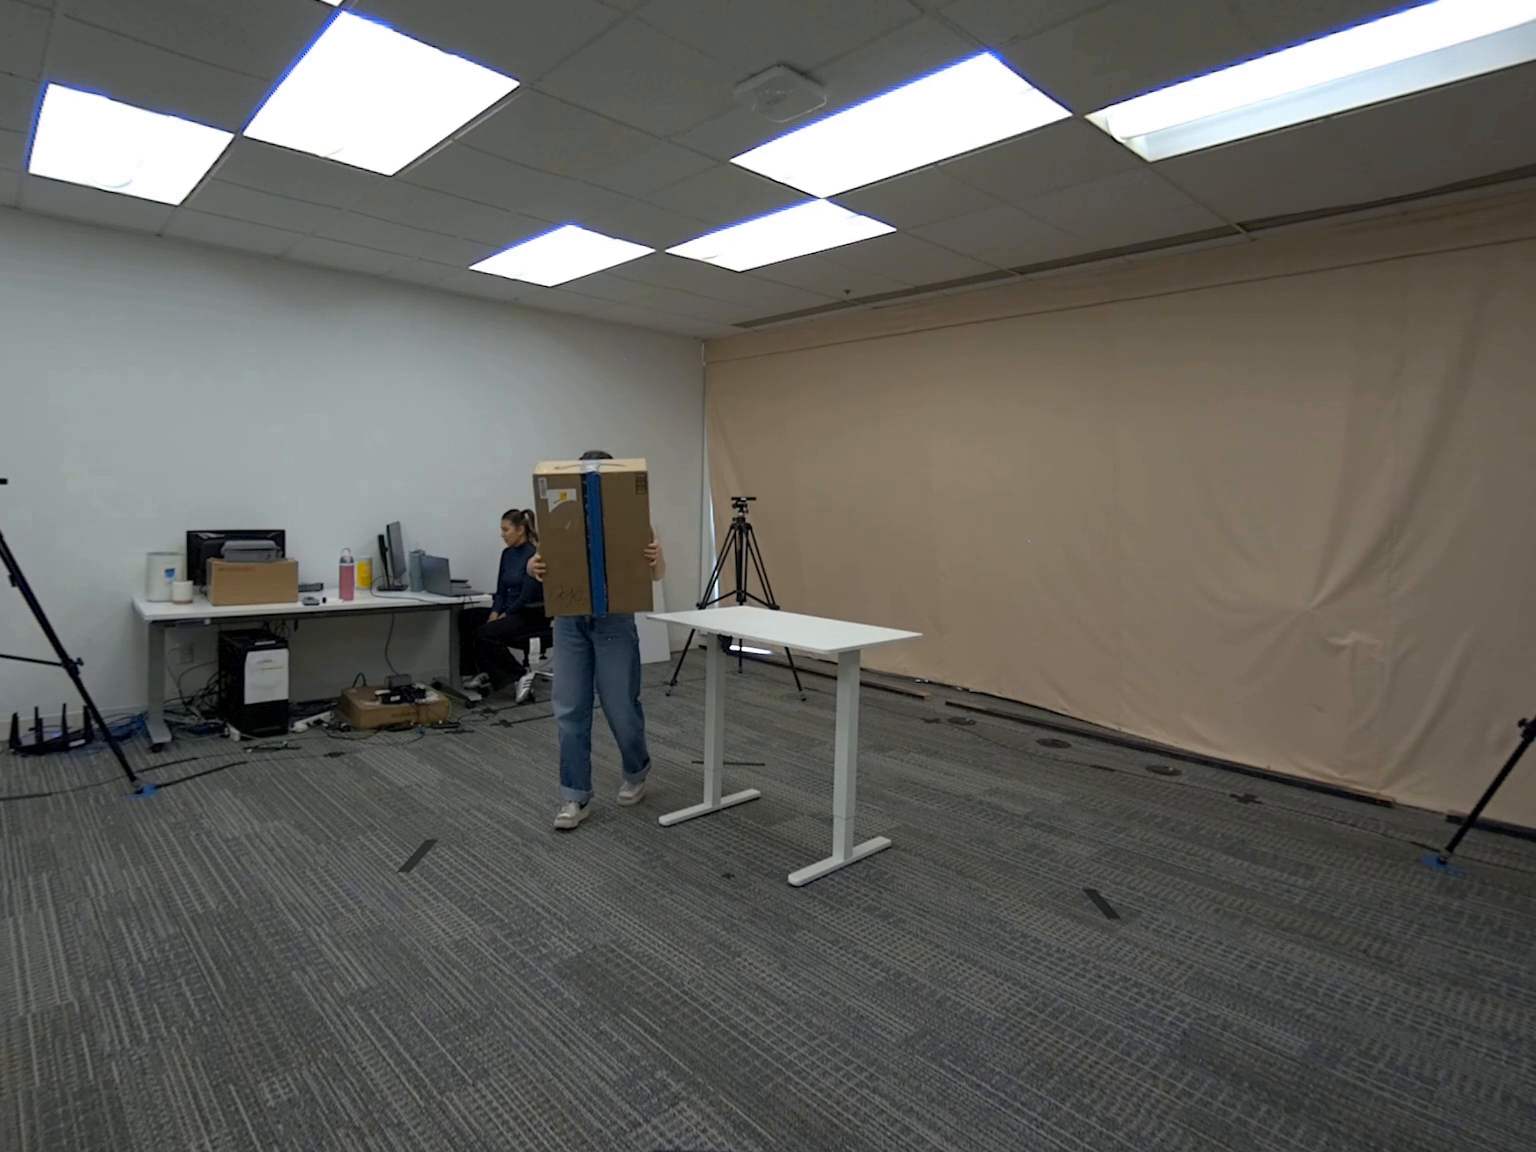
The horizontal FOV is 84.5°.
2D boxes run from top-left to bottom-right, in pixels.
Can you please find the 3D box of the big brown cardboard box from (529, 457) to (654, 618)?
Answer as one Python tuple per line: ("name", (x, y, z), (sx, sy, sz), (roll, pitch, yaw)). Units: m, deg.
("big brown cardboard box", (-0.672, -0.158, 3.252), (0.415, 0.580, 0.238), (-3, 21, -8))
